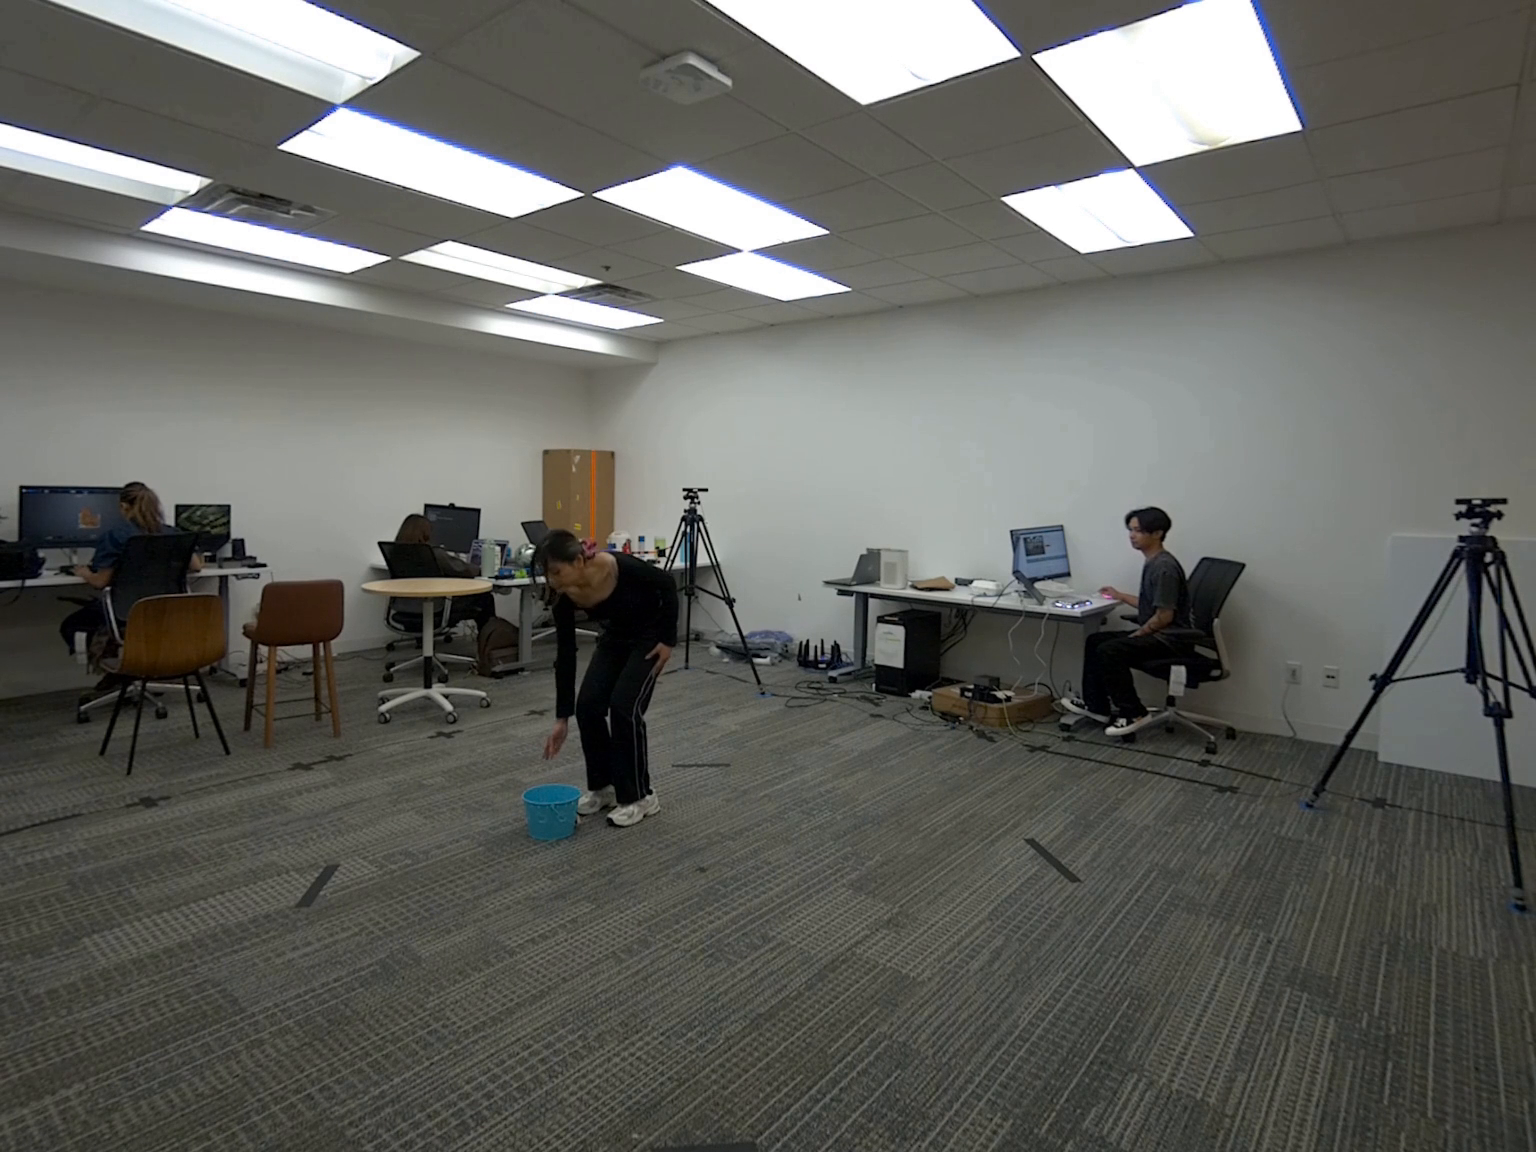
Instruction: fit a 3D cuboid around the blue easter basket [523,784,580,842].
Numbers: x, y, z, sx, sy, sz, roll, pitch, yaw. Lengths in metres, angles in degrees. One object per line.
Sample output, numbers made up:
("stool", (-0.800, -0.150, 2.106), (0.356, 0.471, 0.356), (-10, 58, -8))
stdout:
("blue easter basket", (-0.879, 0.946, 3.436), (0.243, 0.155, 0.245), (0, 4, -2))
